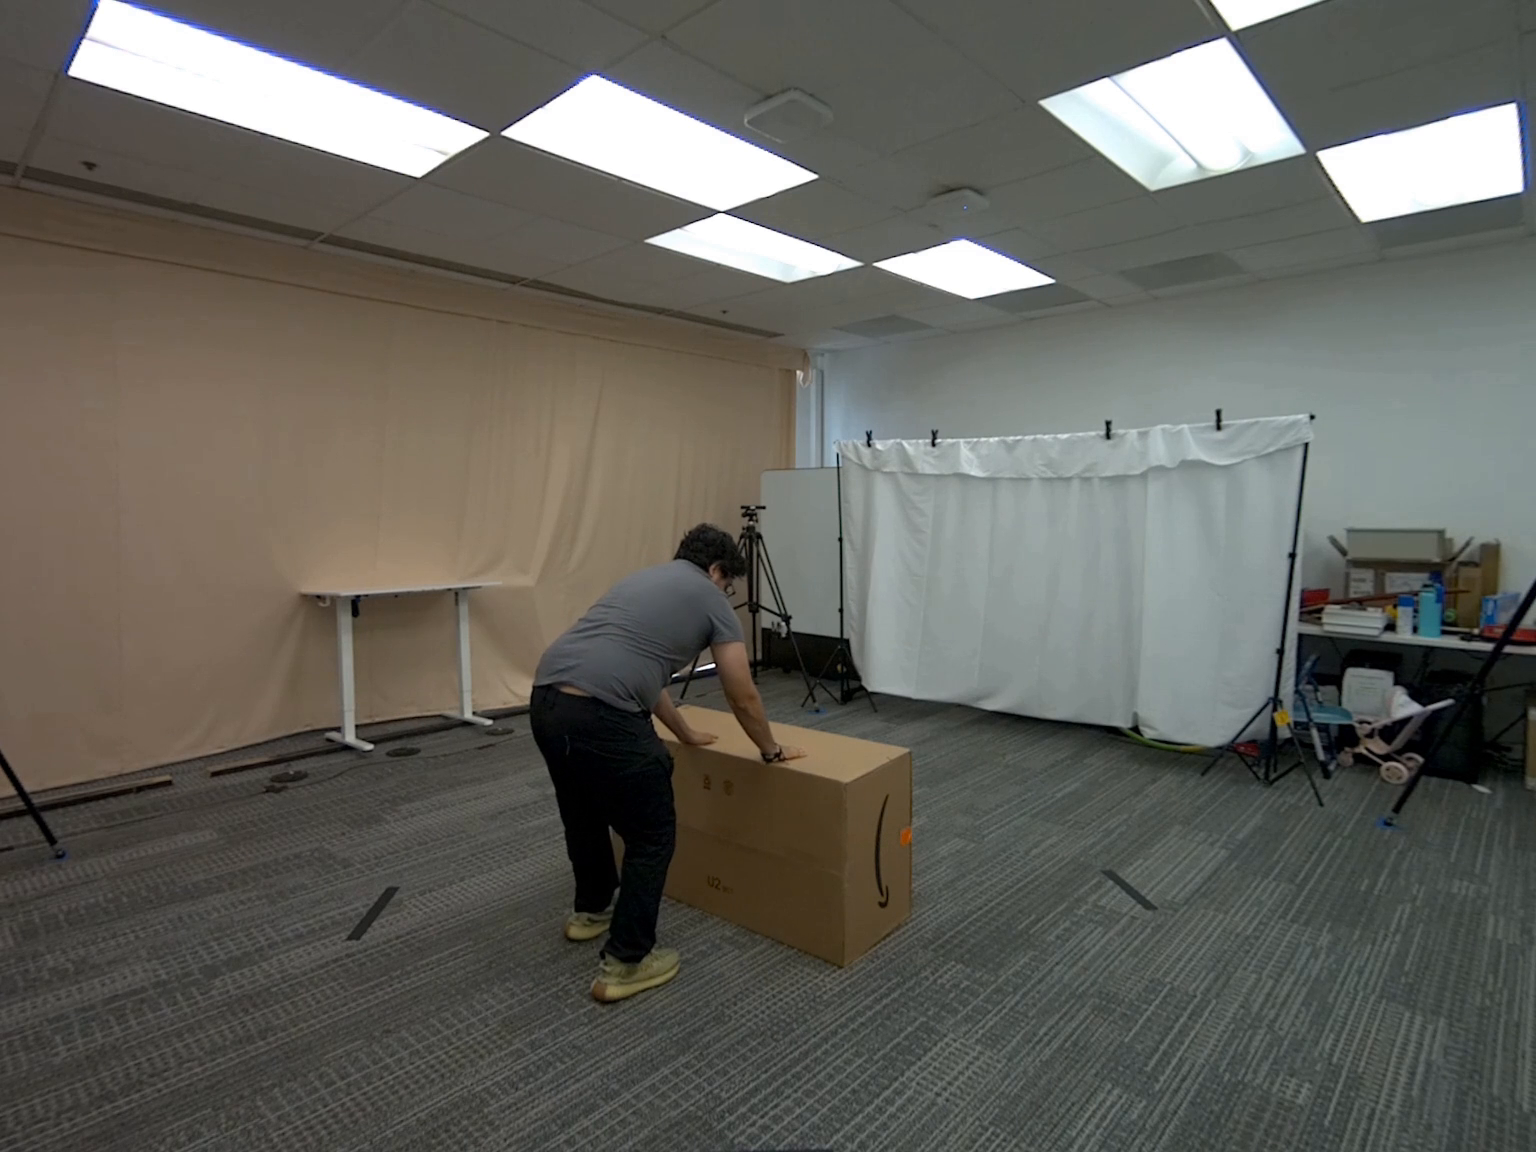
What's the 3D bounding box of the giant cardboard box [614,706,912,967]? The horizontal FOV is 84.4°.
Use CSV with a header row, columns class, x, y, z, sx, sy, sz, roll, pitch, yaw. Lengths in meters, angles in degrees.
class,x,y,z,sx,sy,sz,roll,pitch,yaw
giant cardboard box,-0.045,0.853,3.002,1.059,0.576,0.413,3,5,39
